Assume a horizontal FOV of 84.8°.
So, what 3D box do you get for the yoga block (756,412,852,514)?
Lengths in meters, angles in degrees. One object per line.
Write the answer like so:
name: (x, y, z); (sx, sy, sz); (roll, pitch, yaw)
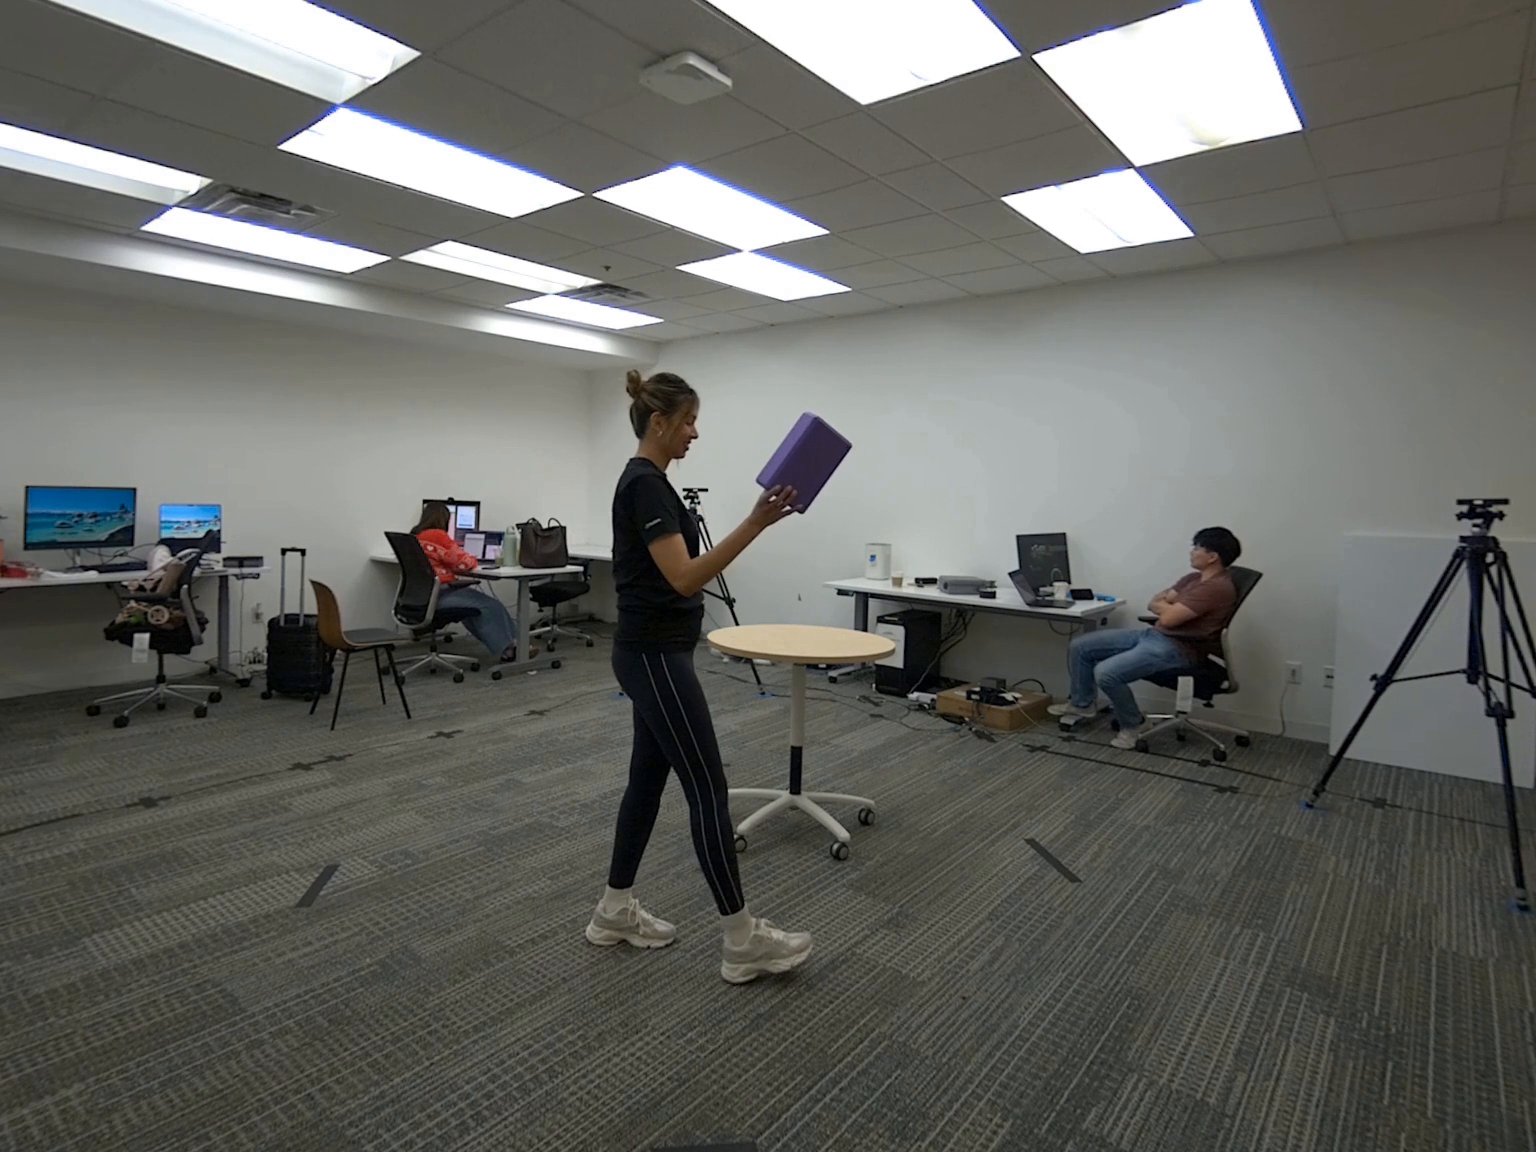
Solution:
yoga block: (0.086, -0.299, 2.223); (0.143, 0.229, 0.079); (34, 5, -31)
